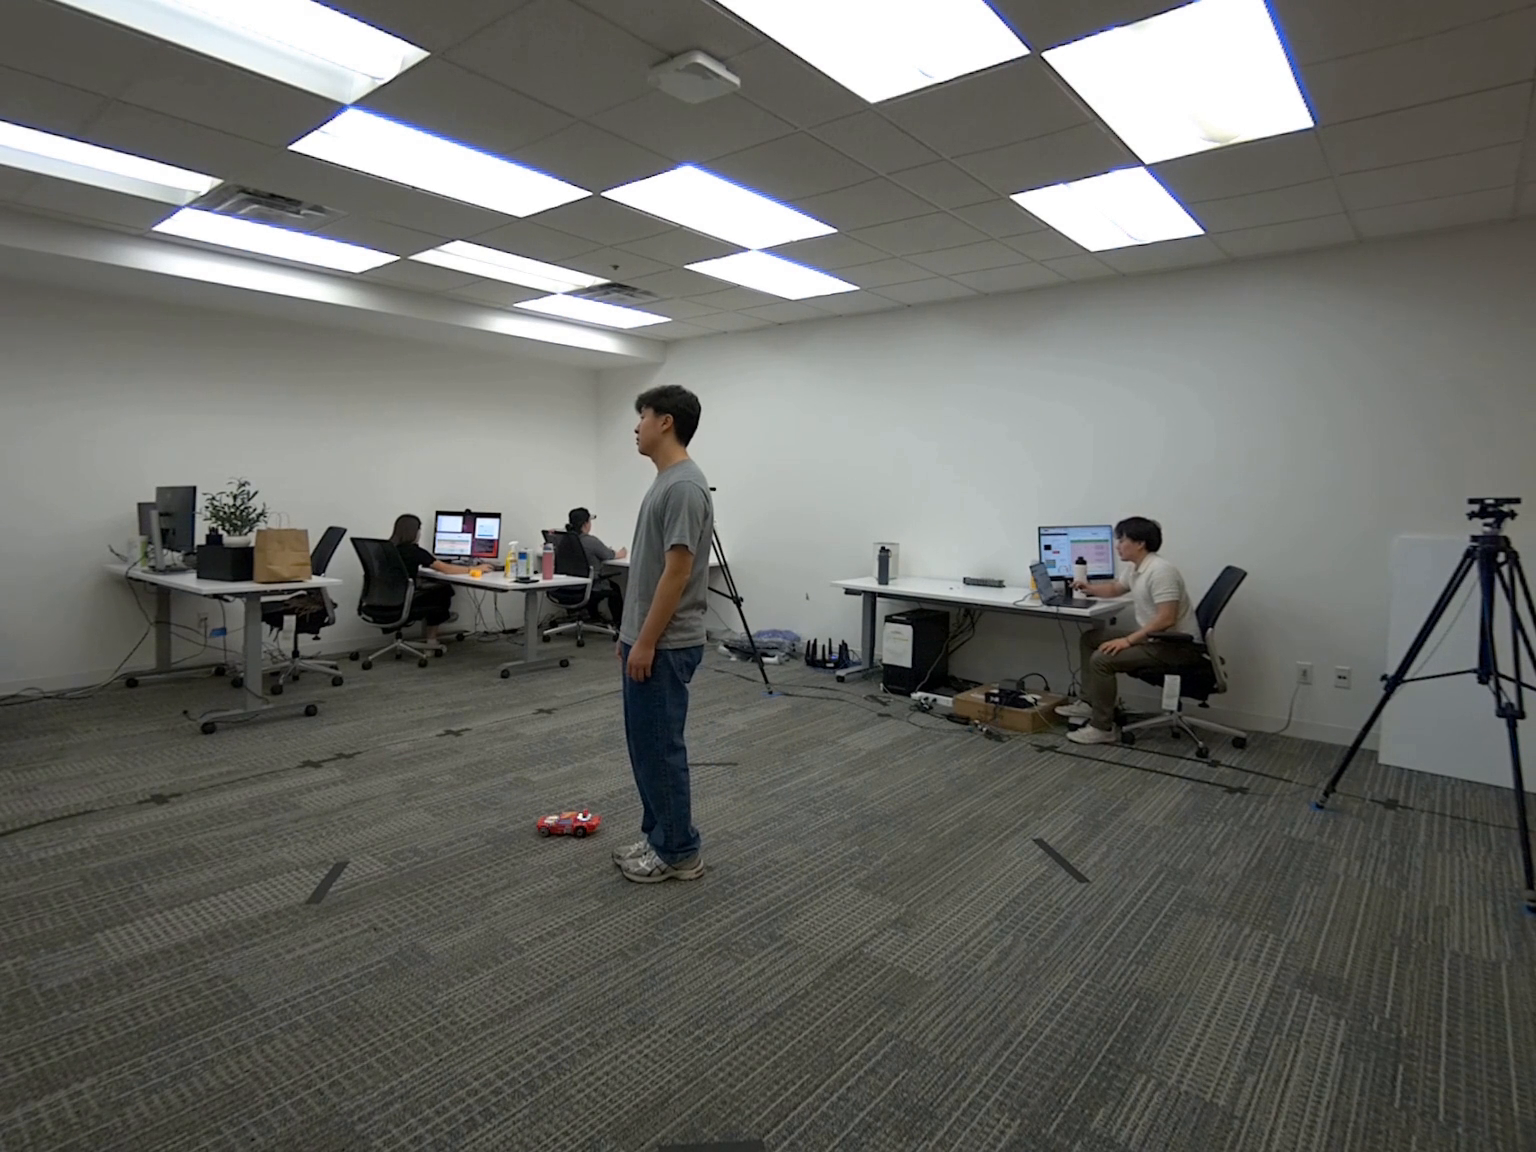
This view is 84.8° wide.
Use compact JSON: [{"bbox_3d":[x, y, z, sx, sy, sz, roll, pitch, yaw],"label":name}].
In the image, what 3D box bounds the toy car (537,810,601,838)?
[{"bbox_3d":[-0.810,0.996,3.412,0.255,0.083,0.130,-10,4,1],"label":"toy car"}]
